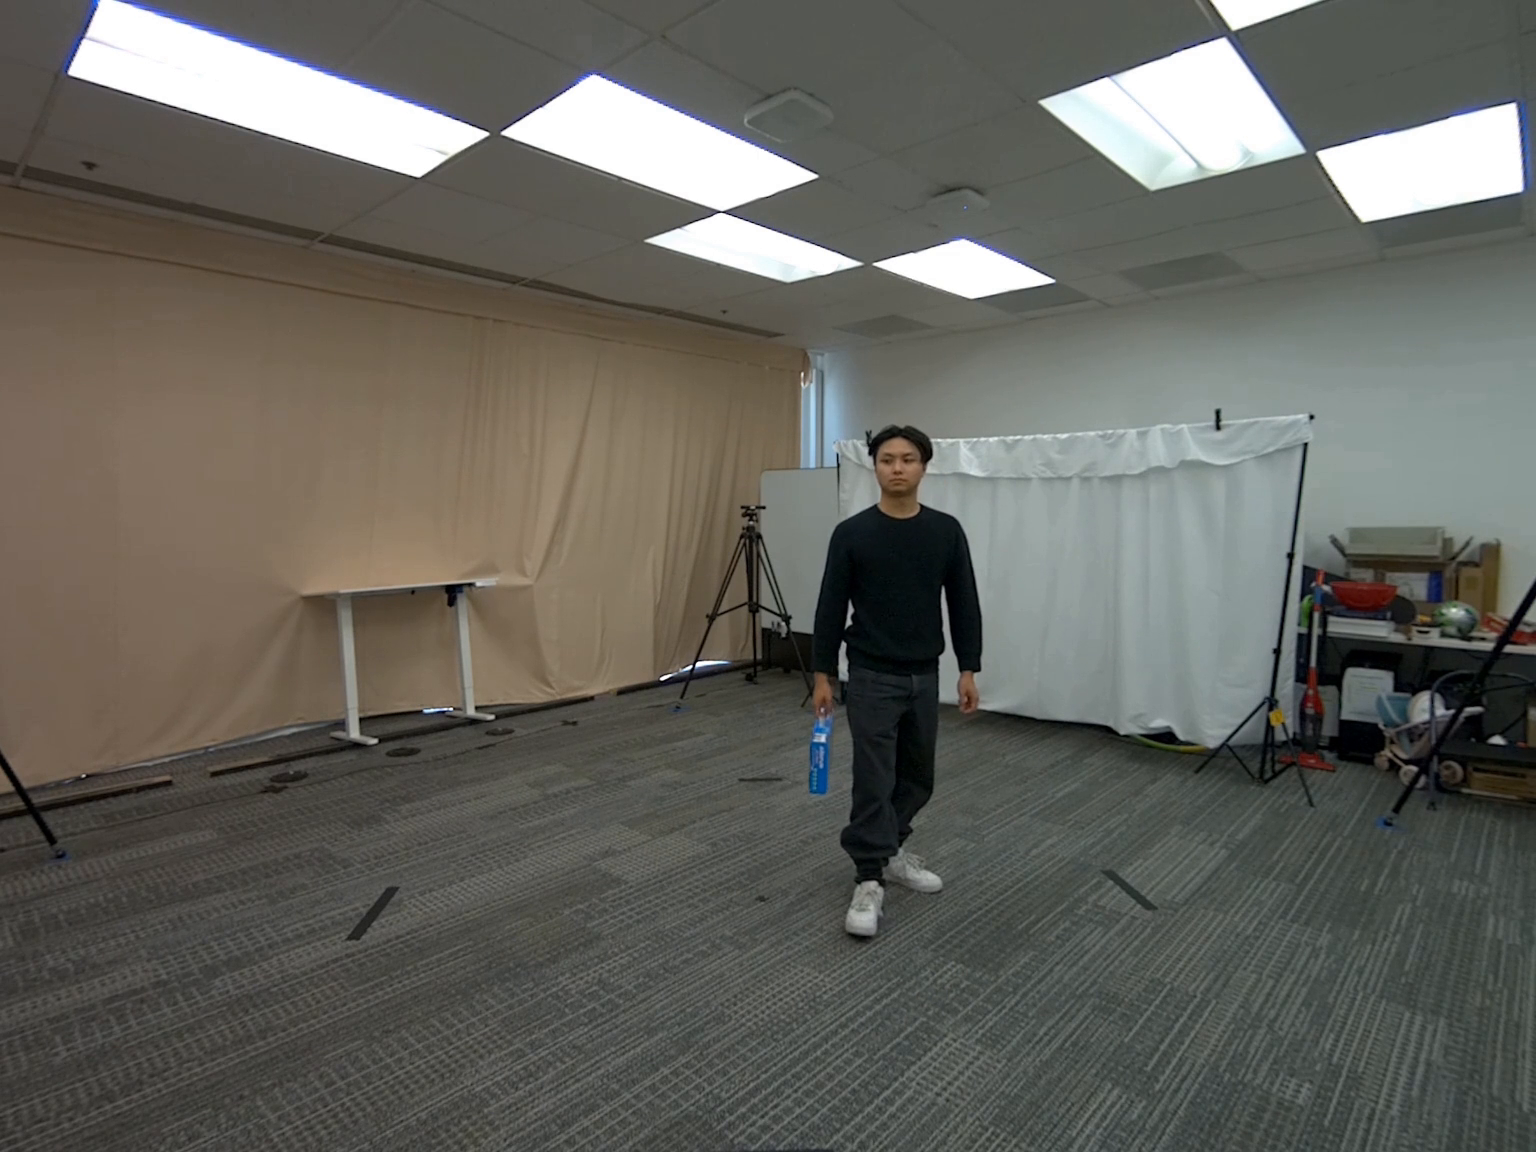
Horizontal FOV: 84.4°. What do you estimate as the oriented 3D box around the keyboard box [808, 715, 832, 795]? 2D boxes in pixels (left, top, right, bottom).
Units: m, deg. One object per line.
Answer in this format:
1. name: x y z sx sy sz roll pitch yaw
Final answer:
1. keyboard box: 0.197 0.600 2.956 0.060 0.175 0.433 0 5 8
